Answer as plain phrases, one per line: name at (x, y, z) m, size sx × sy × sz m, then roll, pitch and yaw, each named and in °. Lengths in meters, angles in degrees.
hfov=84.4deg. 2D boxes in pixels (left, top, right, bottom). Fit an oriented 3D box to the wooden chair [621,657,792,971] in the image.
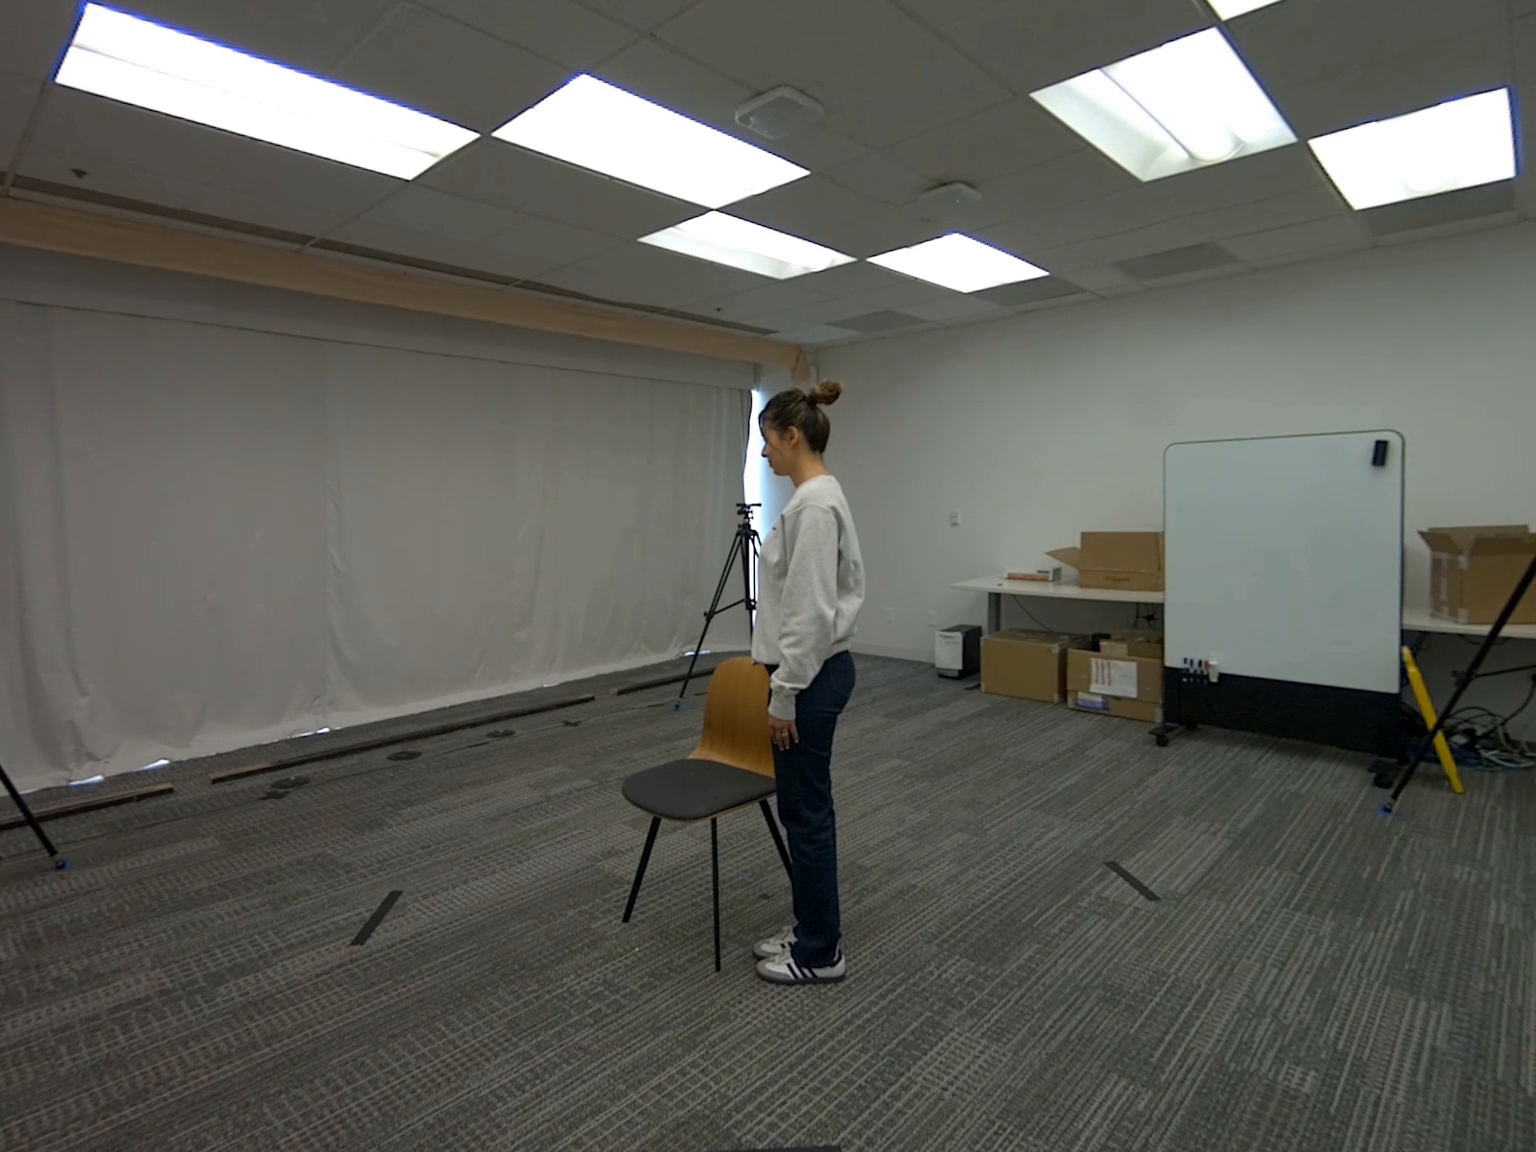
wooden chair at (-0.182, 0.730, 2.795) m, size 0.494 × 0.877 × 0.506 m, roll 3°, pitch 1°, yaw 43°
